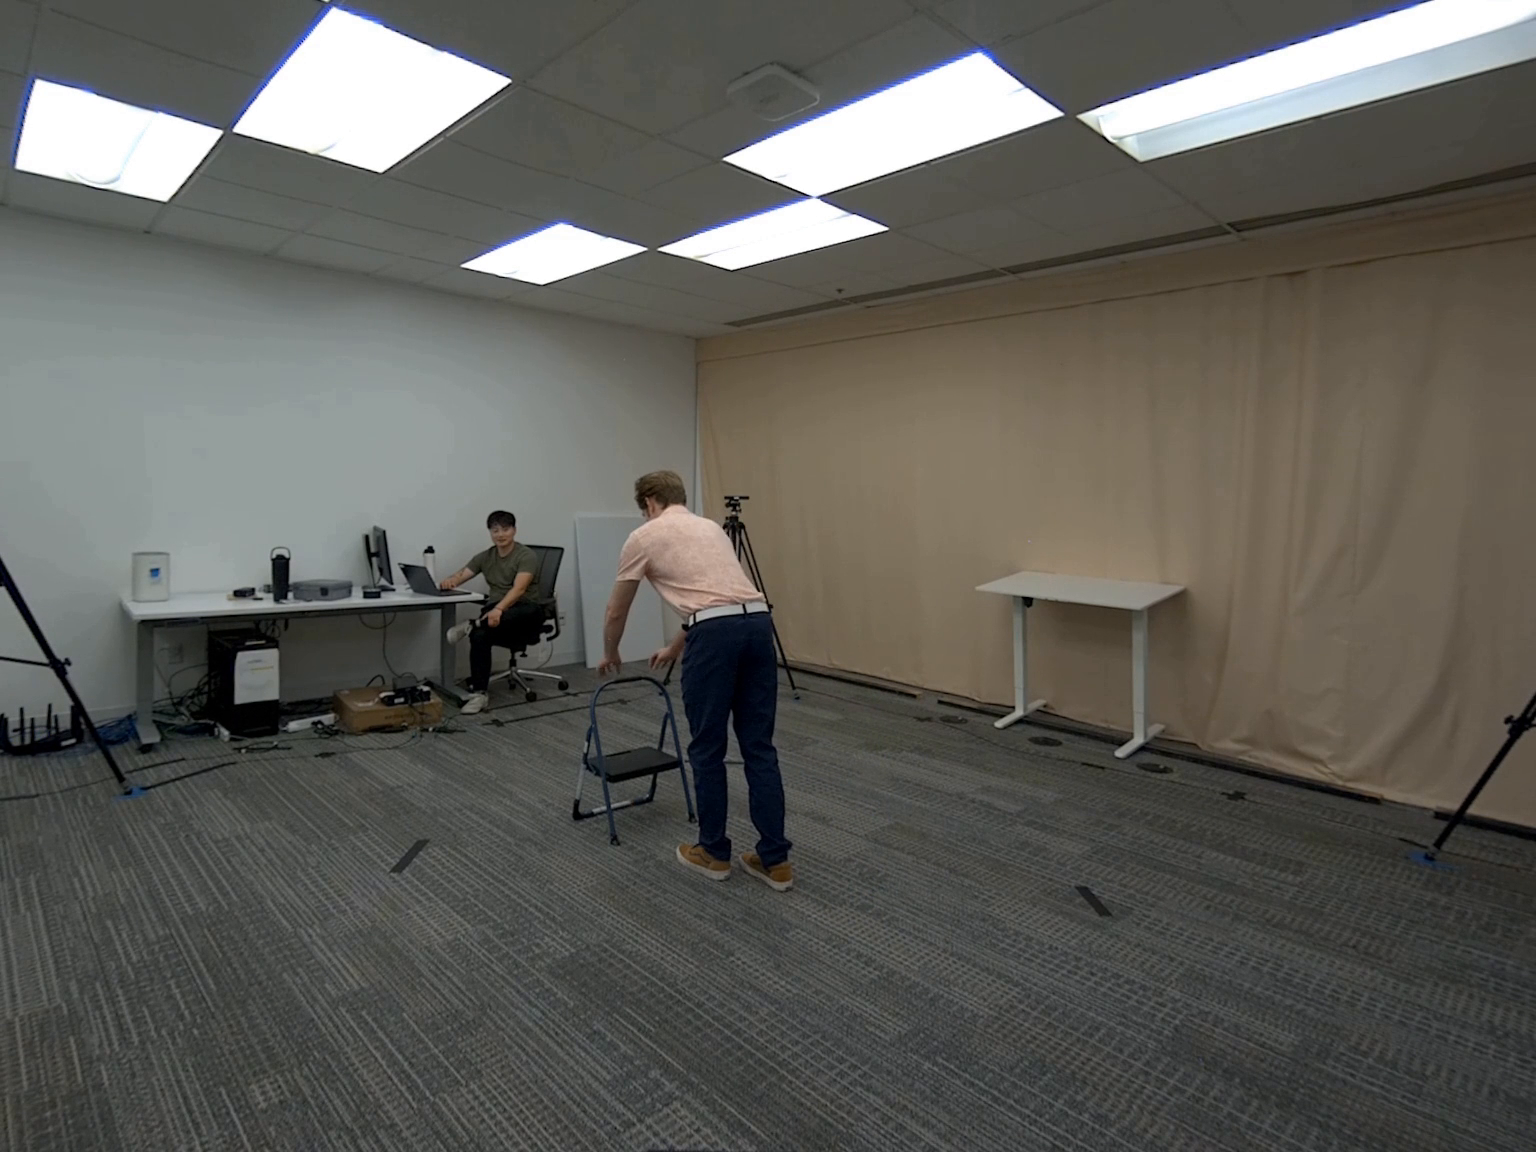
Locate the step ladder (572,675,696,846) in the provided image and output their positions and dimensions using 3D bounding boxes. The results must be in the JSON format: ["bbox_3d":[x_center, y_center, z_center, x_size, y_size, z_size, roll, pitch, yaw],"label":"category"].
[{"bbox_3d":[-0.572,0.748,3.590,0.421,0.605,0.358,-1,4,-43],"label":"step ladder"}]
